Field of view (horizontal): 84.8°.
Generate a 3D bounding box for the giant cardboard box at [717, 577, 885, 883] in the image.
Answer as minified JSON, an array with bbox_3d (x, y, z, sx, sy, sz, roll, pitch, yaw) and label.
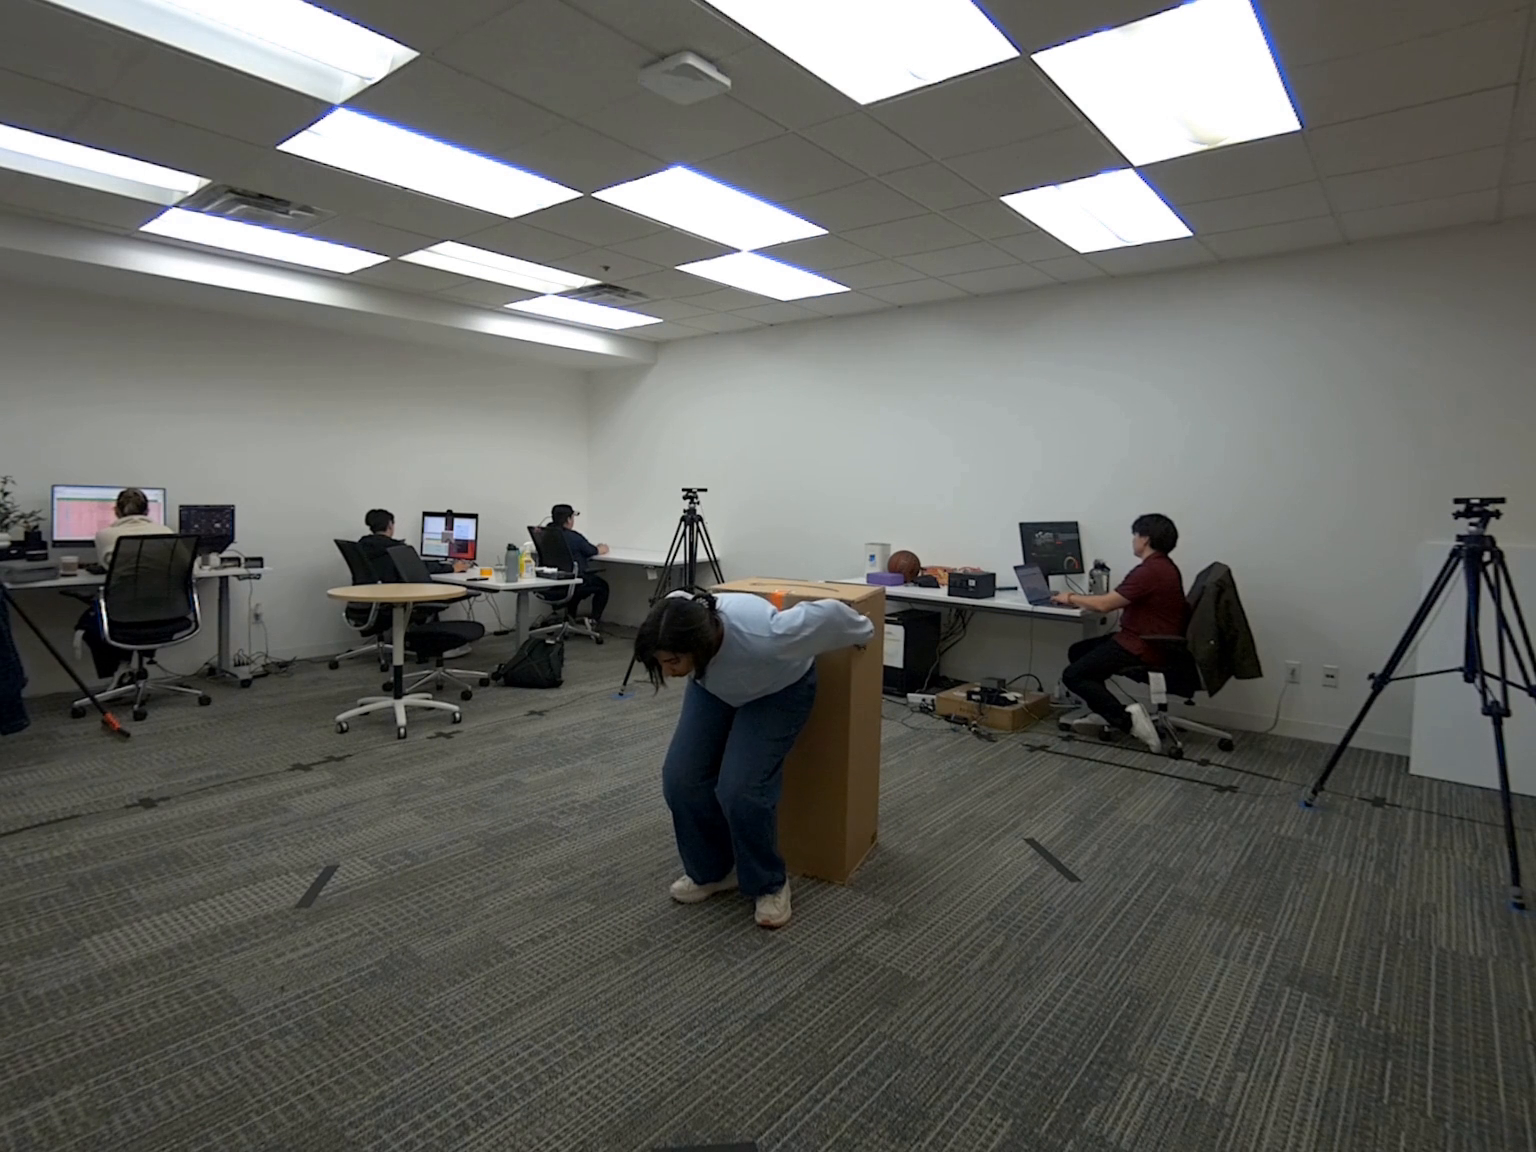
[{"bbox_3d":[0.102,0.551,3.287,0.593,1.022,0.416,4,5,26],"label":"giant cardboard box"}]
